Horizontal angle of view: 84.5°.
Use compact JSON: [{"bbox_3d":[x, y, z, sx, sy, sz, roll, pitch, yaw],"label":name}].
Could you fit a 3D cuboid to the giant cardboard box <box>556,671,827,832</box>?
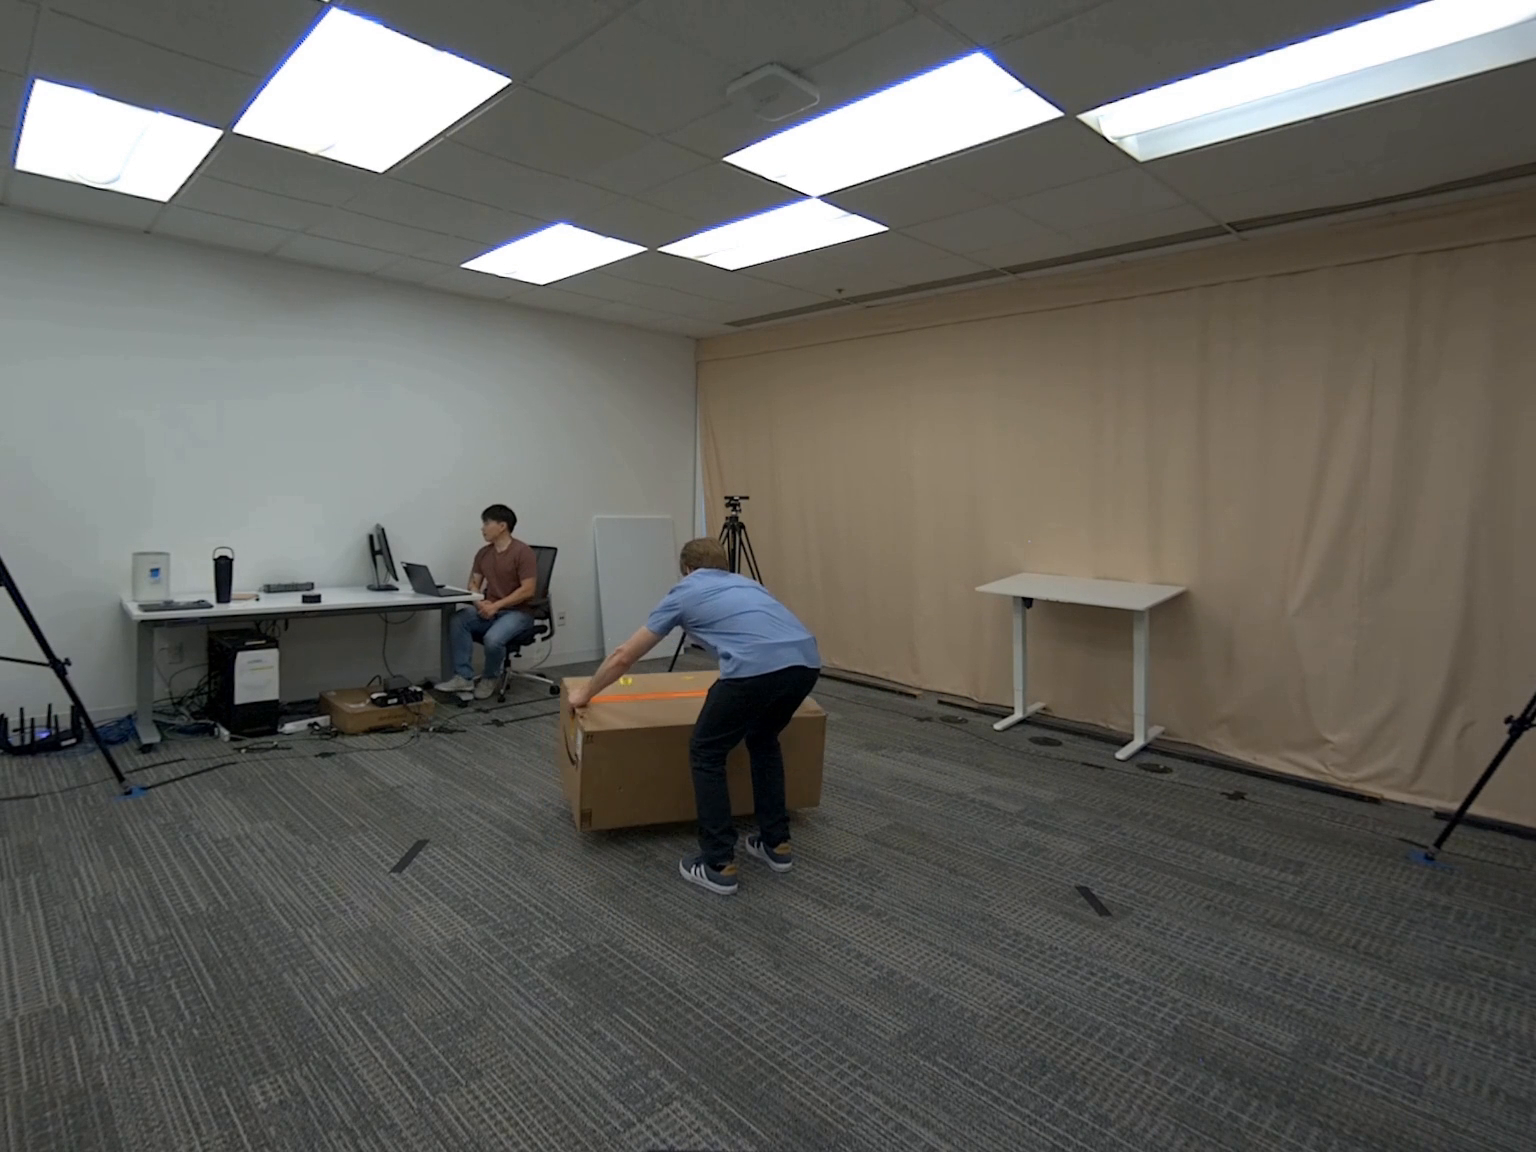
[{"bbox_3d":[-0.348,0.717,3.626,1.012,0.443,0.597,0,13,-20],"label":"giant cardboard box"}]
